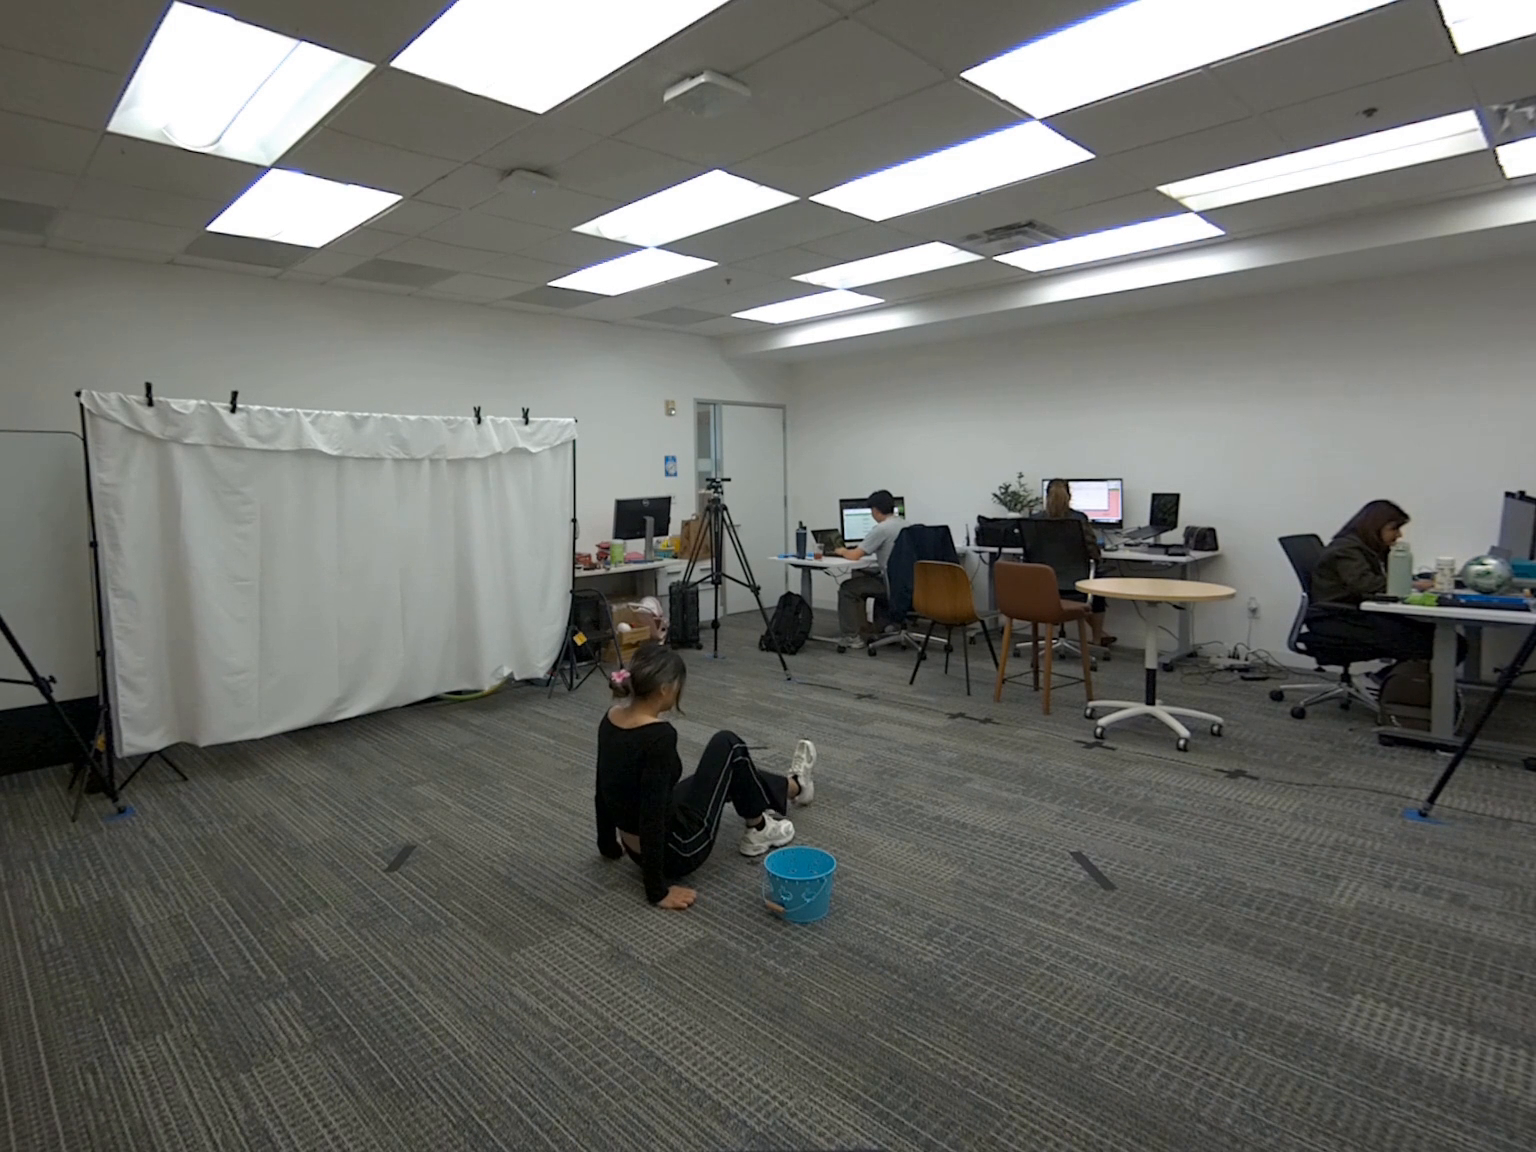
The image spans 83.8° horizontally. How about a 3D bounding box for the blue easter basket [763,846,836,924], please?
[{"bbox_3d":[0.101,0.992,2.772,0.243,0.155,0.245,-1,6,-2],"label":"blue easter basket"}]
